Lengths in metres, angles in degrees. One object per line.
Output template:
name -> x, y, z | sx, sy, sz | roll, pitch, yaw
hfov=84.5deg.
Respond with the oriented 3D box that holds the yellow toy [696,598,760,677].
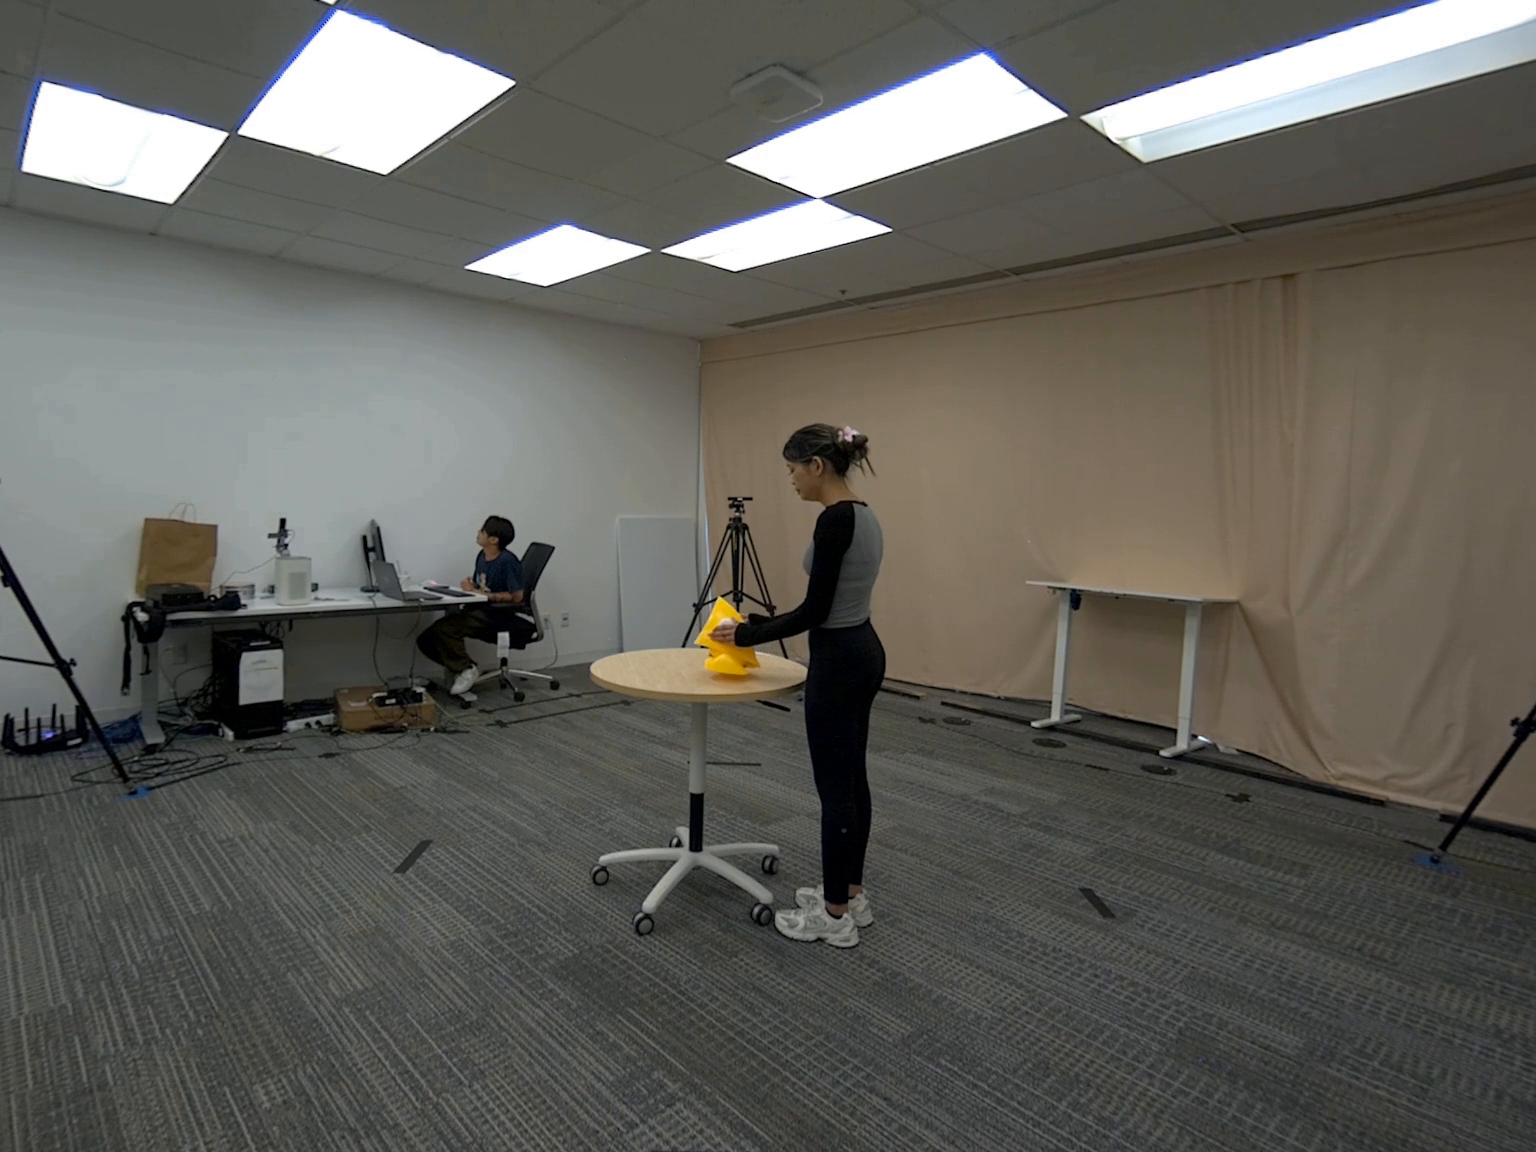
yellow toy -> -0.125, 0.193, 2.826 | 0.197, 0.230, 0.202 | 7, 6, 22
